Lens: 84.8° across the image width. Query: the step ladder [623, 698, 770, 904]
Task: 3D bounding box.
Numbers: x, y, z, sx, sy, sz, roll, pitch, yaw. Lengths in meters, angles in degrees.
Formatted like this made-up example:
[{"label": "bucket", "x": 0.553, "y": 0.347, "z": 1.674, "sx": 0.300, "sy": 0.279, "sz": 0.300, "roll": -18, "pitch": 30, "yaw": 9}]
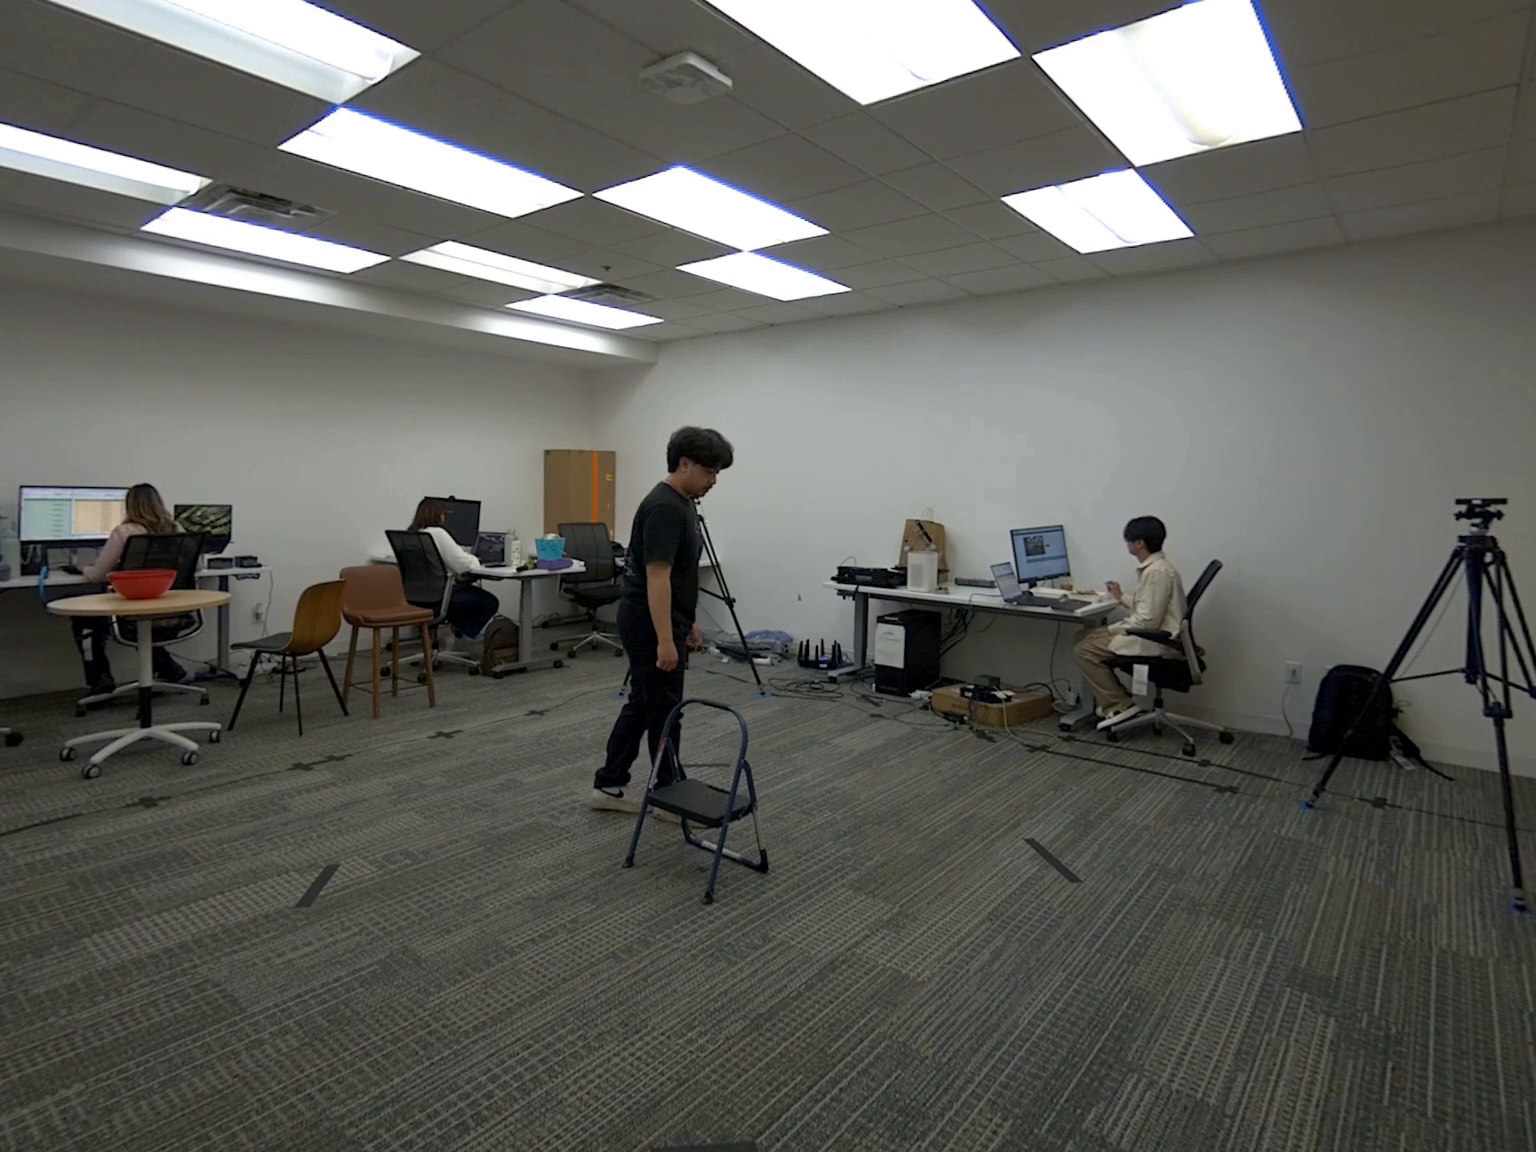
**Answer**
[{"label": "step ladder", "x": -0.265, "y": 0.765, "z": 3.094, "sx": 0.445, "sy": 0.604, "sz": 0.339, "roll": 4, "pitch": 5, "yaw": 39}]
